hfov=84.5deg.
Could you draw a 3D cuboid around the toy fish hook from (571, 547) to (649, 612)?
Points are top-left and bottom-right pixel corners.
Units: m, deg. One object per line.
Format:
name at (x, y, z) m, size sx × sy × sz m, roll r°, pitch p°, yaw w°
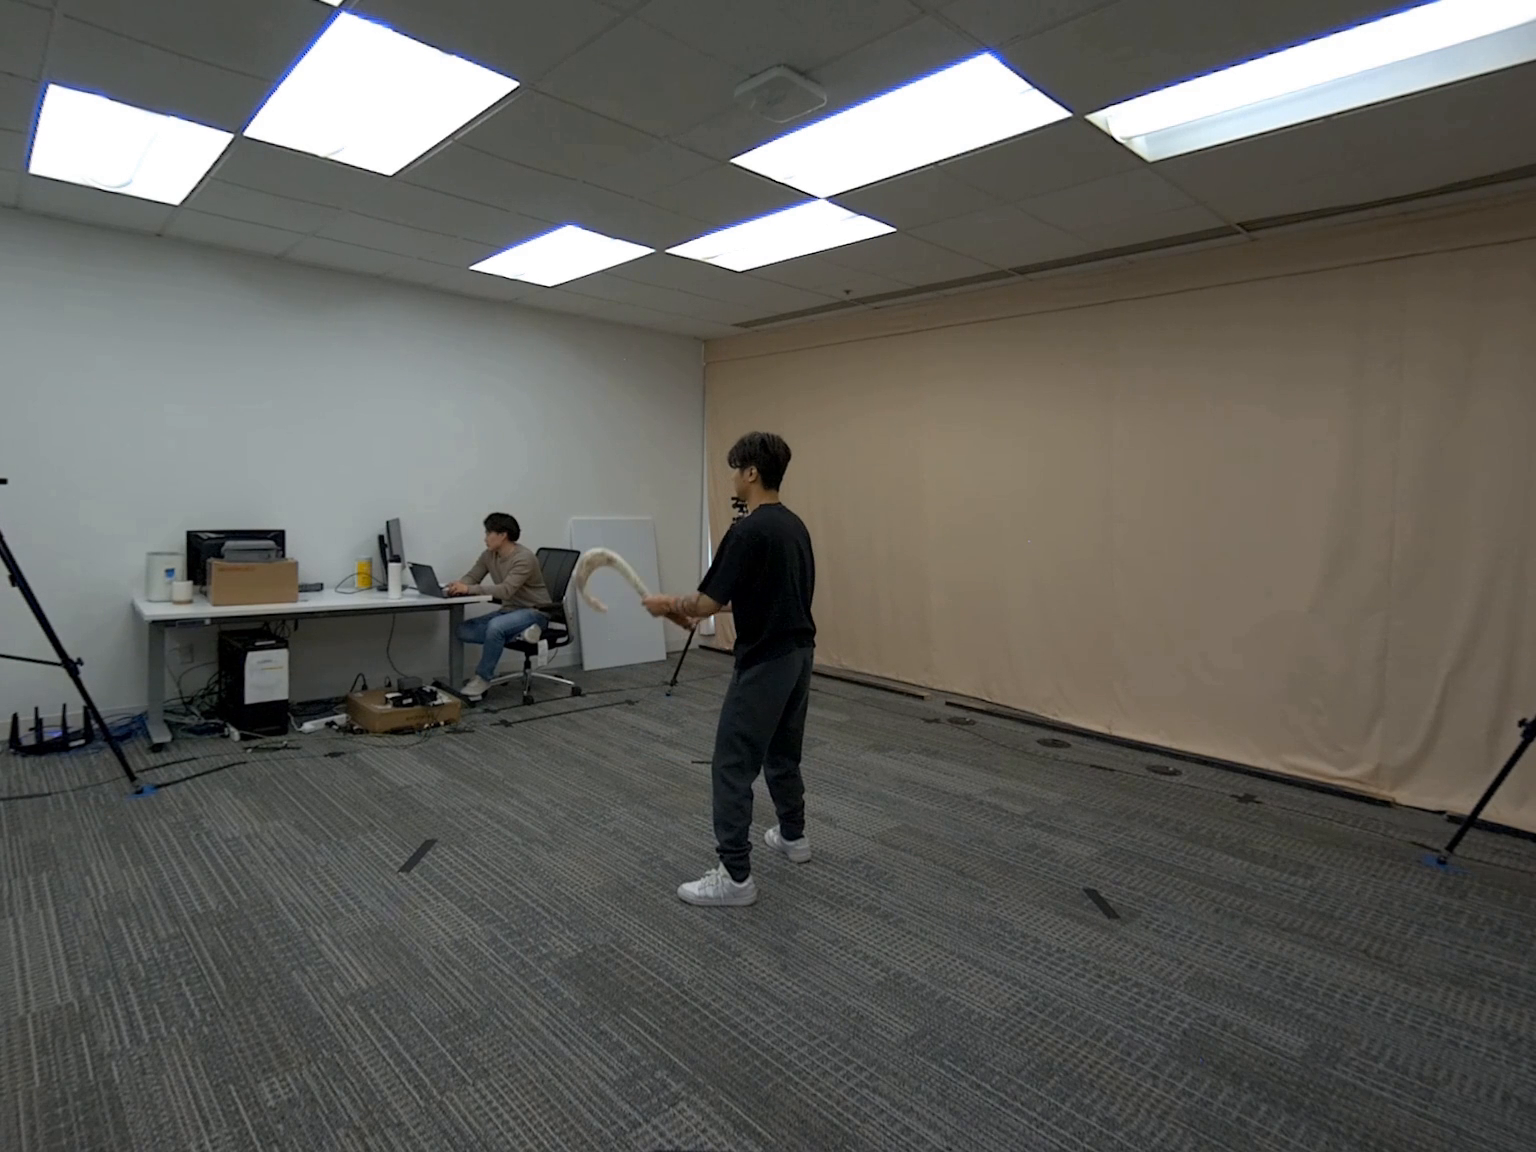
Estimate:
toy fish hook at (-0.481, 0.107, 3.117) m, size 0.509 × 0.224 × 0.048 m, roll 35°, pitch 13°, yaw 5°
